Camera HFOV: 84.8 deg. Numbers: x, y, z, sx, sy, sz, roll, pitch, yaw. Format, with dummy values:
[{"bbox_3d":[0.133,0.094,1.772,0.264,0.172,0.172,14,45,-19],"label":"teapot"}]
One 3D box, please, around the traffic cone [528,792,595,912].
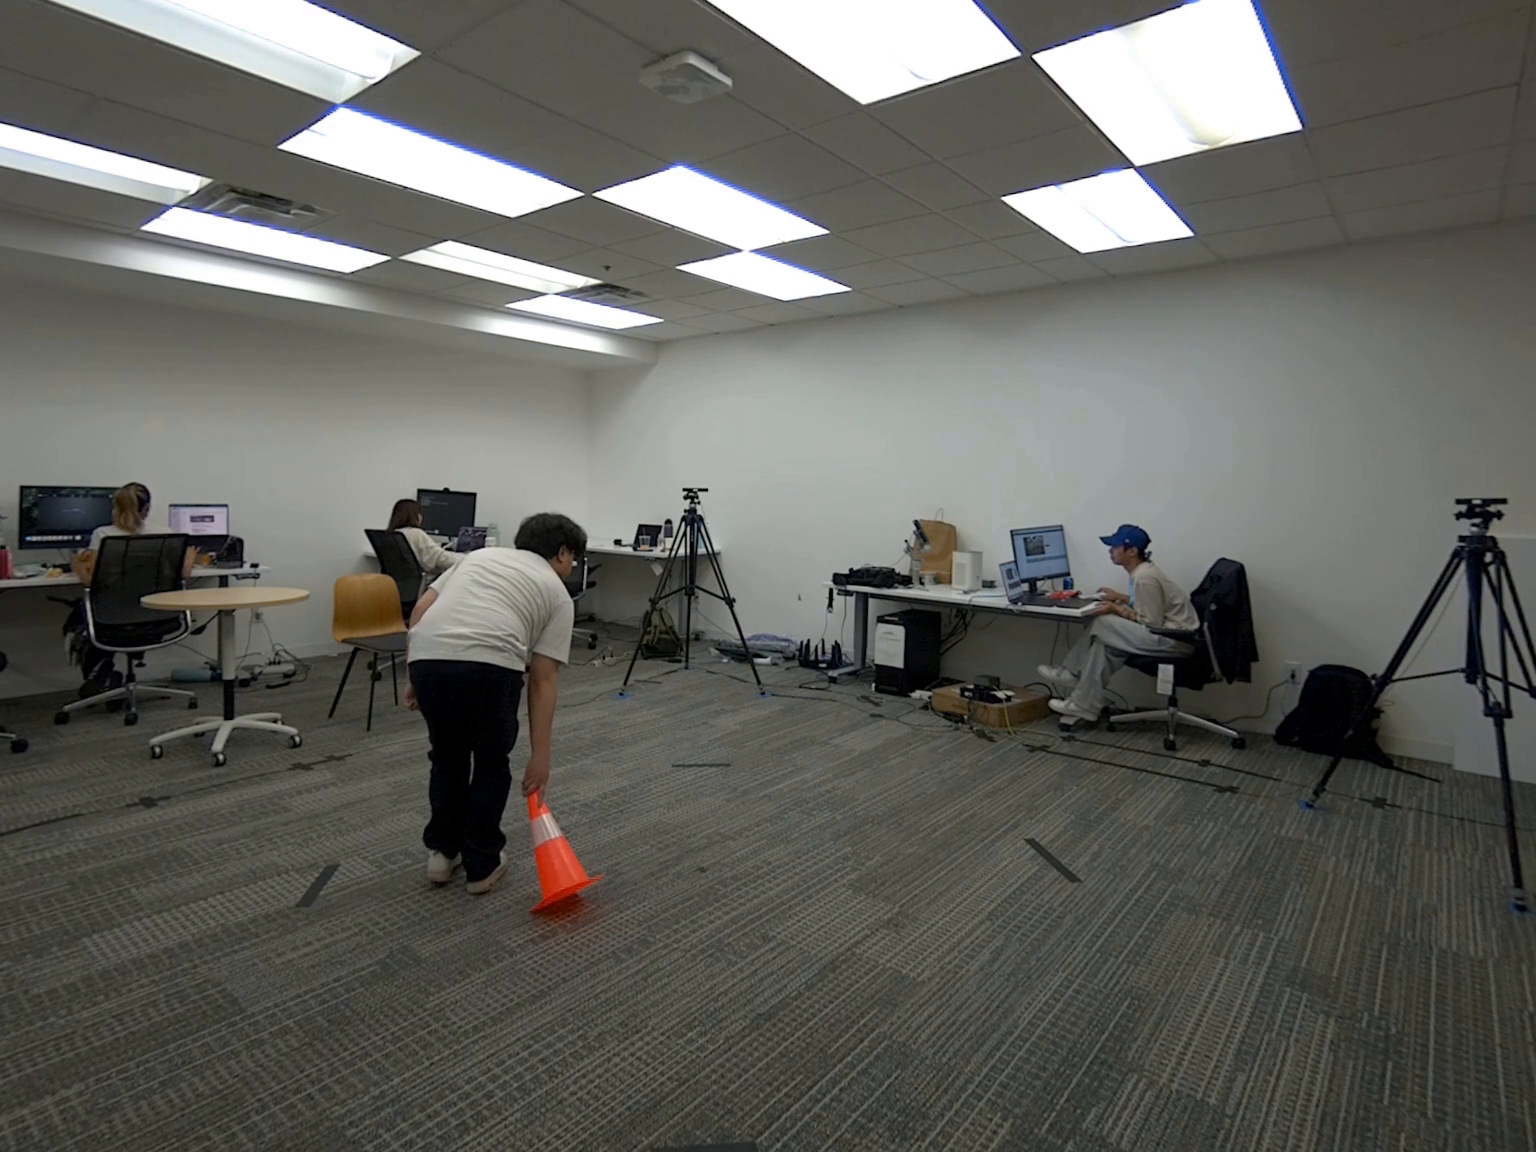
[{"bbox_3d":[-0.750,0.881,2.855,0.204,0.395,0.198,-38,-26,29],"label":"traffic cone"}]
